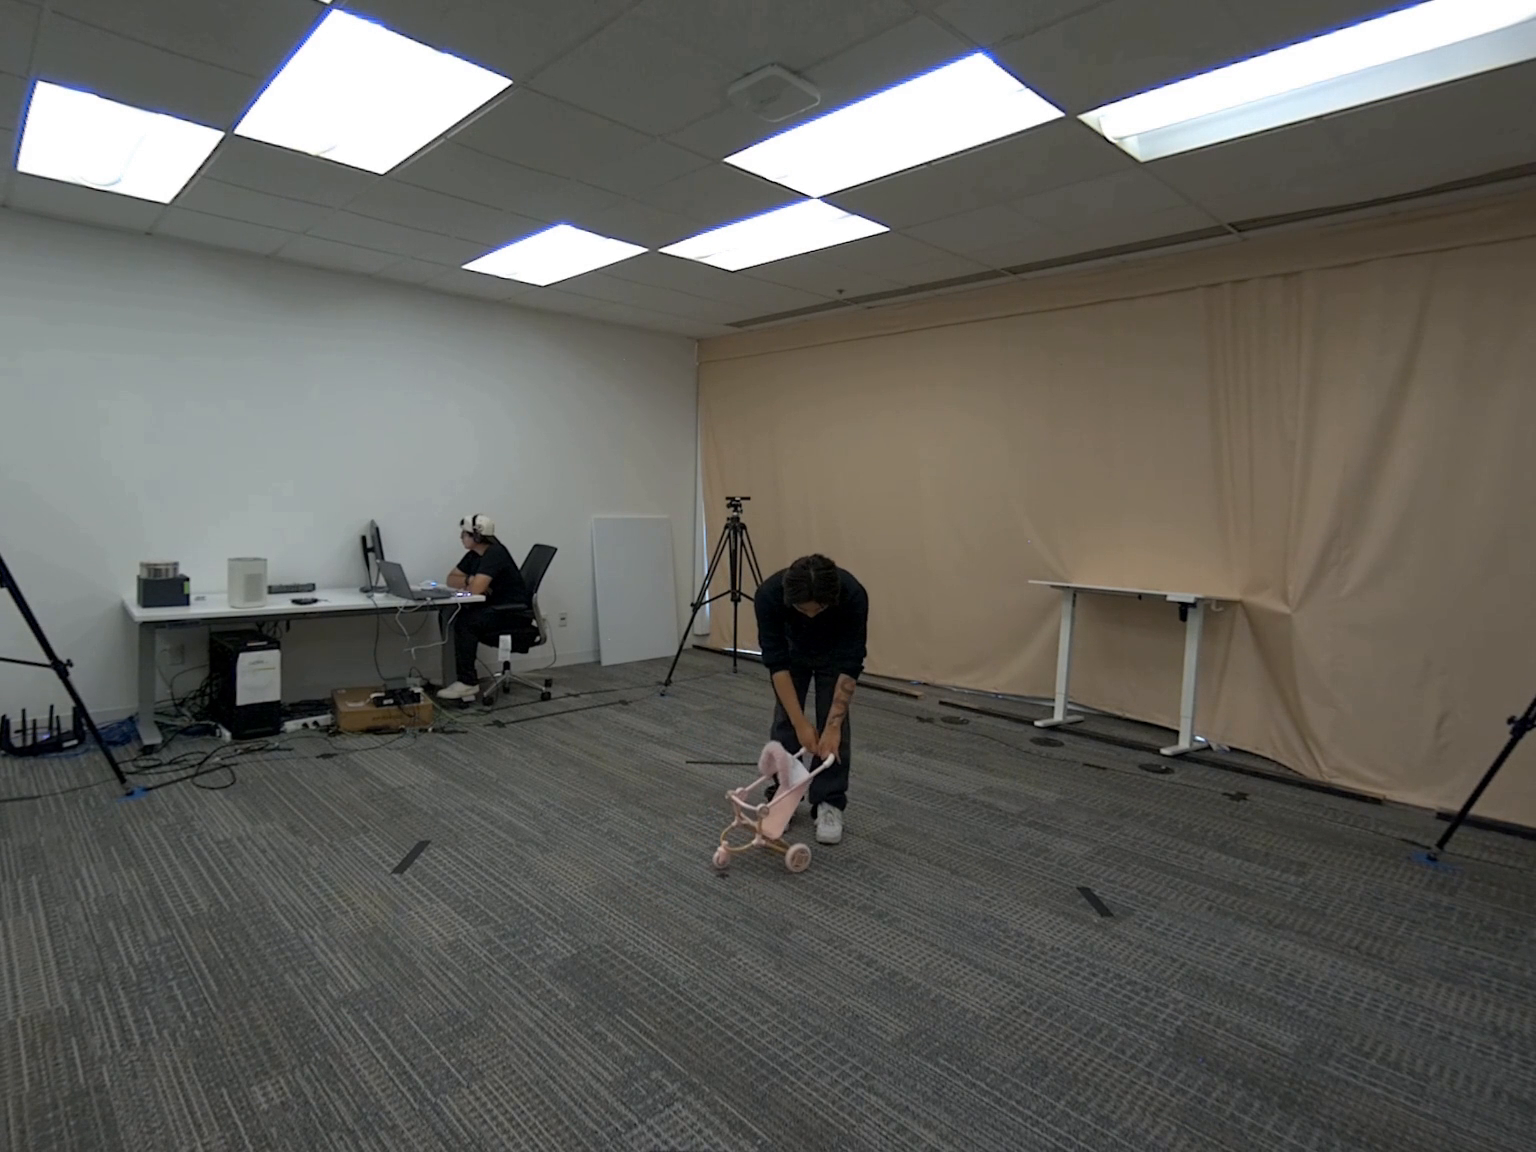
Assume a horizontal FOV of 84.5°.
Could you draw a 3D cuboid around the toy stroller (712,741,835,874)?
[{"bbox_3d":[-0.003,0.874,3.224,0.335,0.536,0.286,19,-4,-21],"label":"toy stroller"}]
